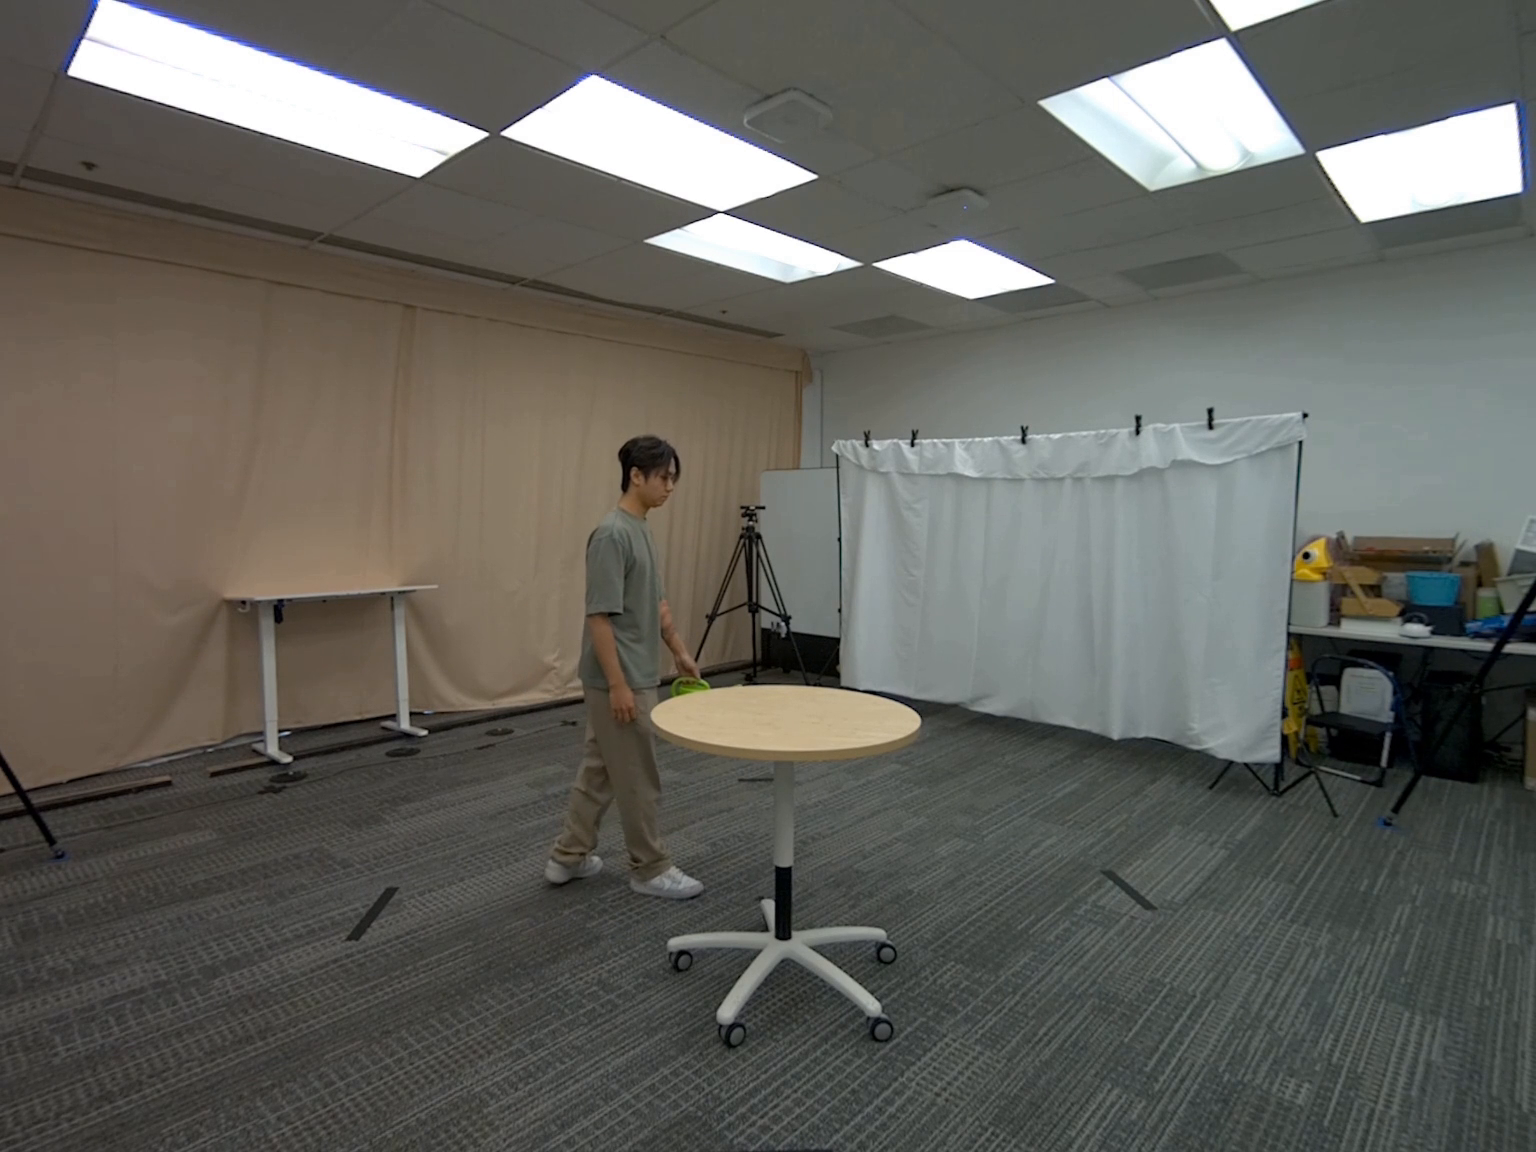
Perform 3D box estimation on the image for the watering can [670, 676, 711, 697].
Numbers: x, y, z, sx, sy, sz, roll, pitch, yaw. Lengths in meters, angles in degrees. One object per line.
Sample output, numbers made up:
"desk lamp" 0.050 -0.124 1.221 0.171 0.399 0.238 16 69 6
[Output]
"watering can" -0.245 0.490 3.267 0.283 0.176 0.096 6 6 16
